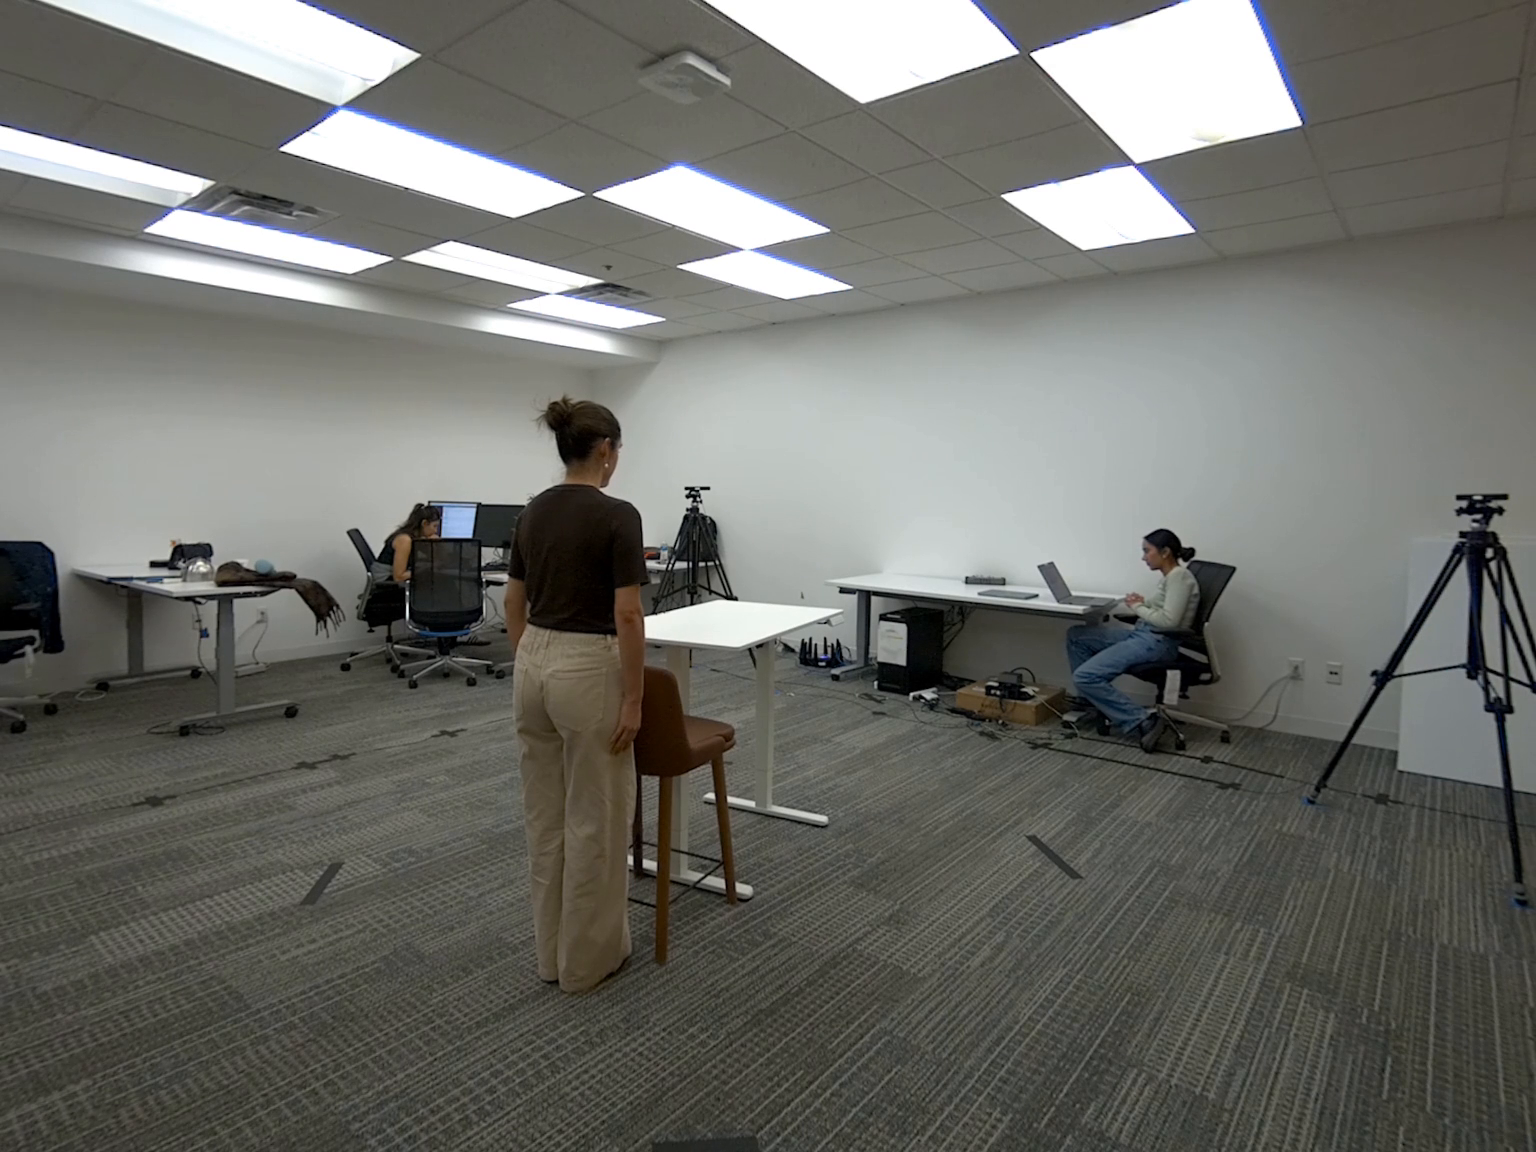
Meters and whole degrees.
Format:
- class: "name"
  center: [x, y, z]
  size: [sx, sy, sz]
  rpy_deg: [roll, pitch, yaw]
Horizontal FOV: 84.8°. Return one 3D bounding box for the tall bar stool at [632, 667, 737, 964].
- class: "tall bar stool"
  center: [-0.384, 0.660, 2.722]
  size: [0.469, 0.885, 0.457]
  rpy_deg: [2, 6, 28]
